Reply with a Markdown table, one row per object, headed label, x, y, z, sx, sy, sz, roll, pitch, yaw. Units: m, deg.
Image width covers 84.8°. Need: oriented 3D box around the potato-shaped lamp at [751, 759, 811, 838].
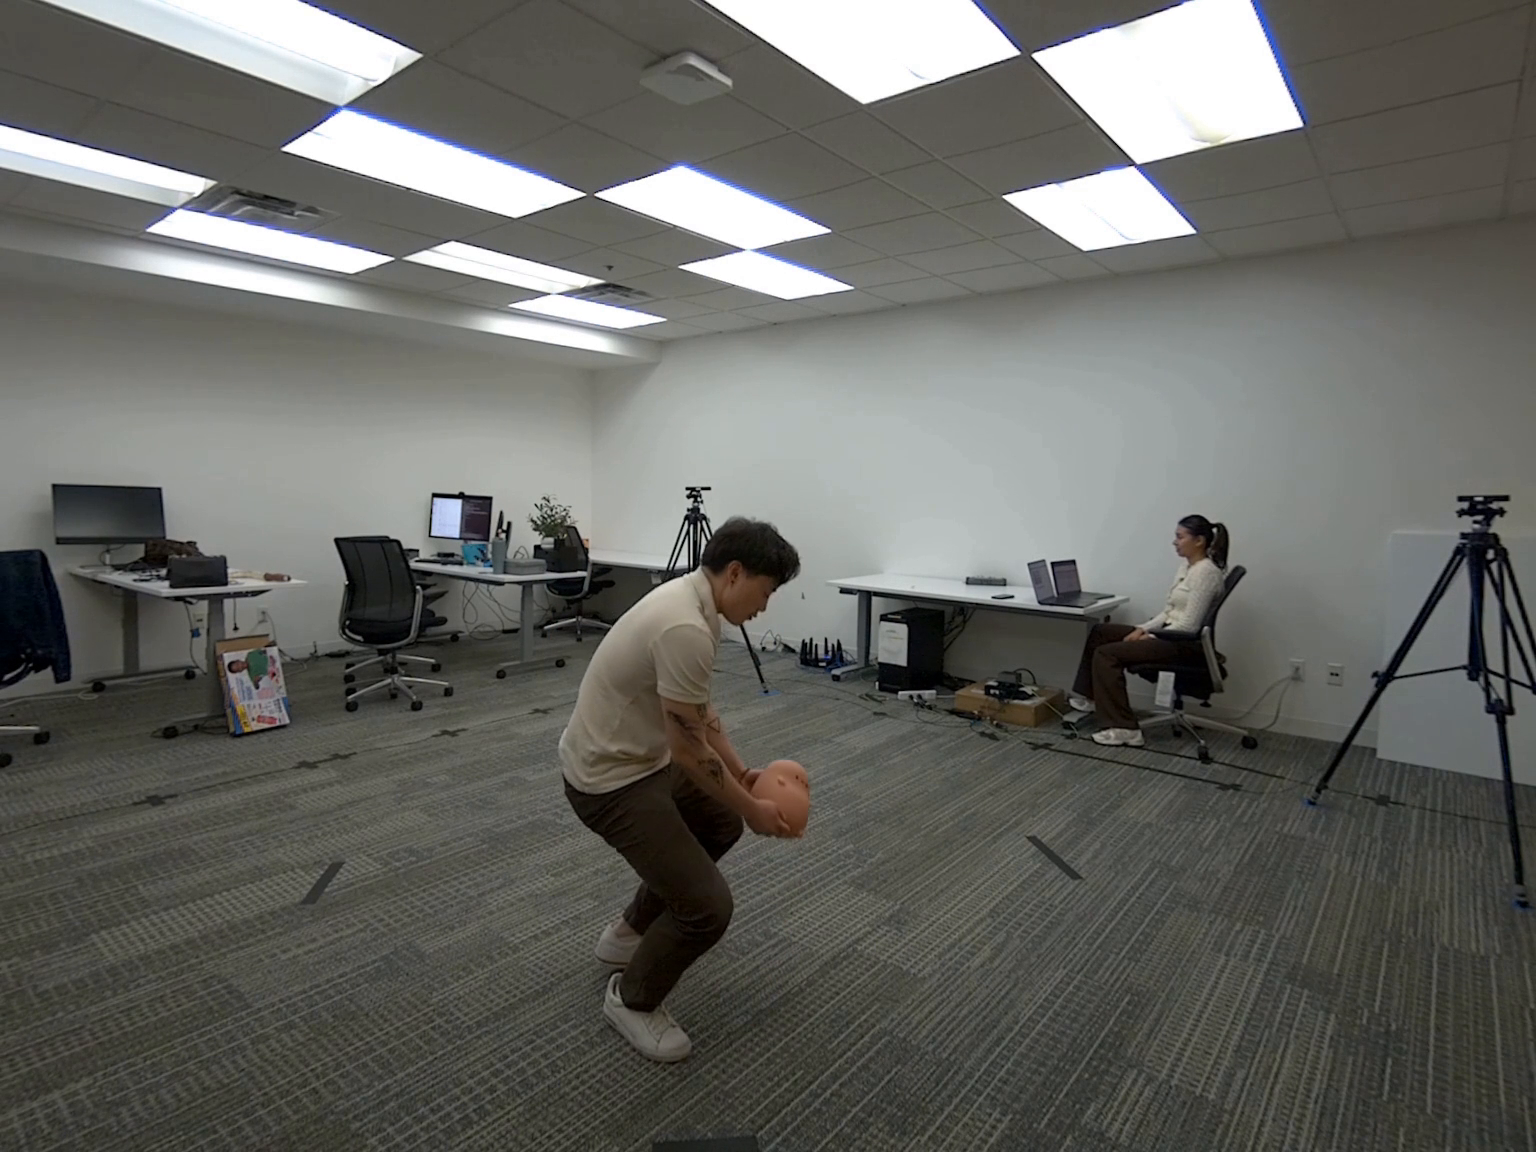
| label | x | y | z | sx | sy | sz | roll | pitch | yaw |
| --- | --- | --- | --- | --- | --- | --- | --- | --- | --- |
| potato-shaped lamp | 0.029 | 0.600 | 2.314 | 0.160 | 0.200 | 0.175 | 40 | -34 | -23 |
